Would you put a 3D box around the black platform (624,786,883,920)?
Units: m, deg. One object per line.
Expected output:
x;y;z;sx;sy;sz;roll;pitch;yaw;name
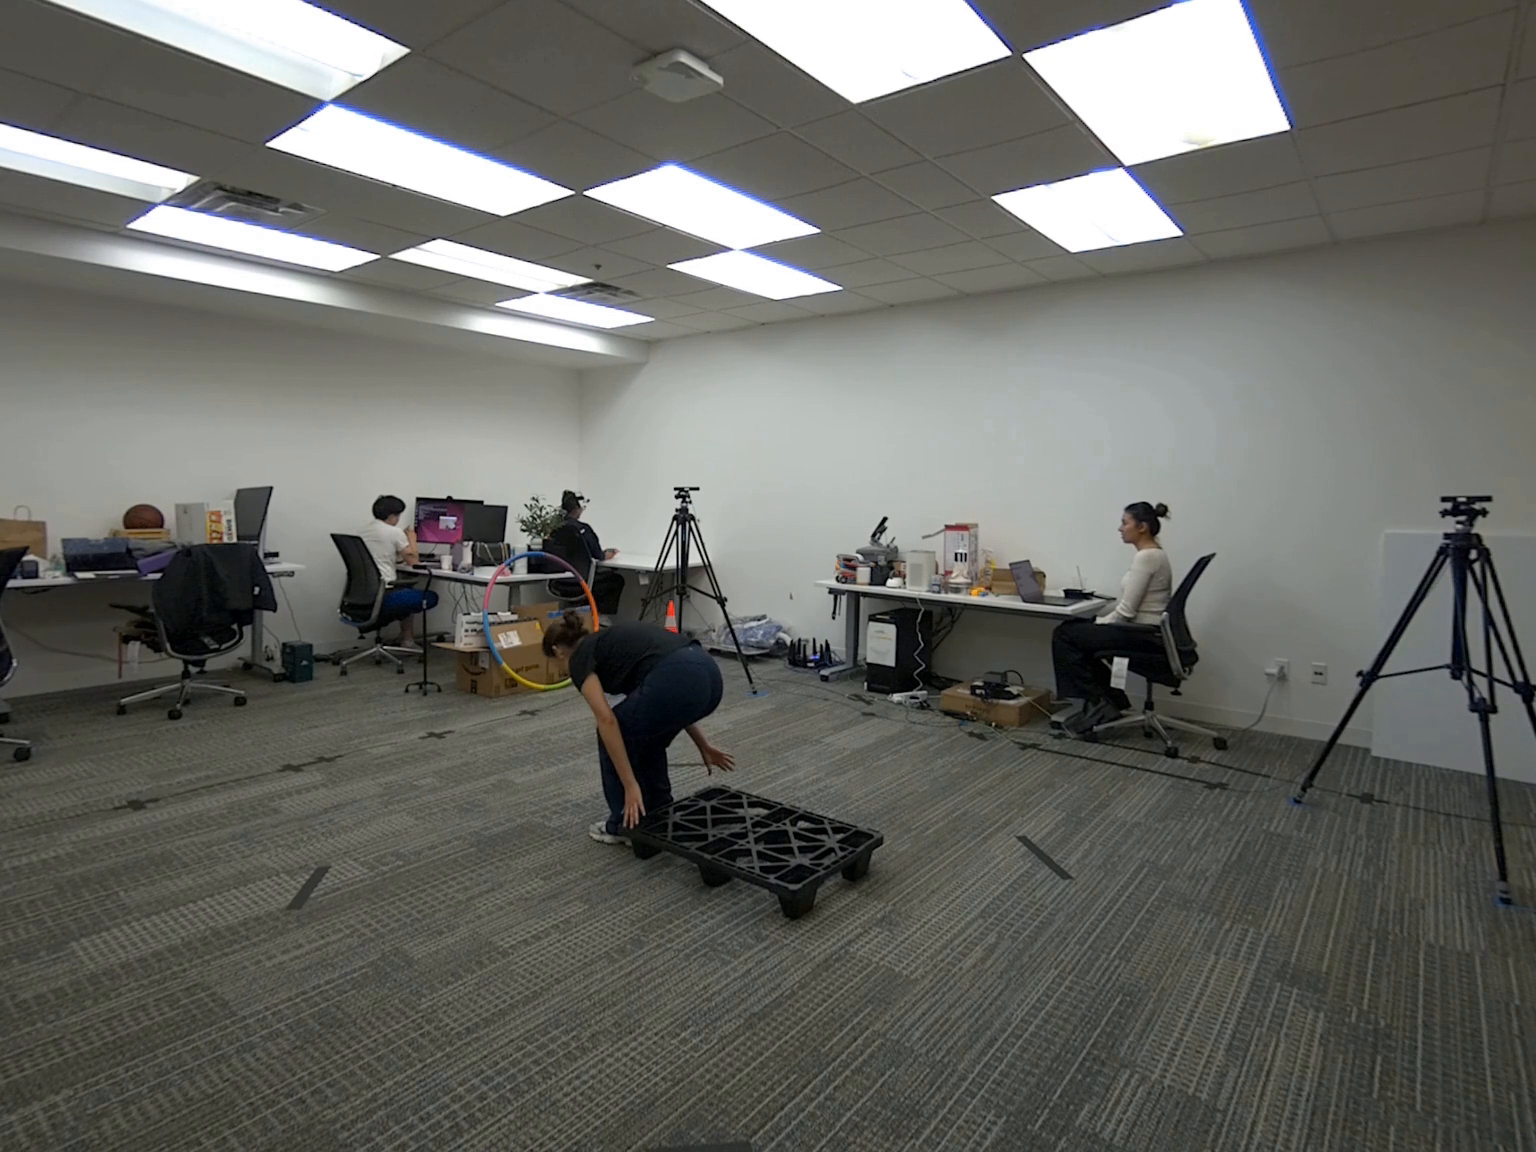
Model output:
-0.050;0.998;3.162;0.832;0.143;0.587;6;6;38;black platform
